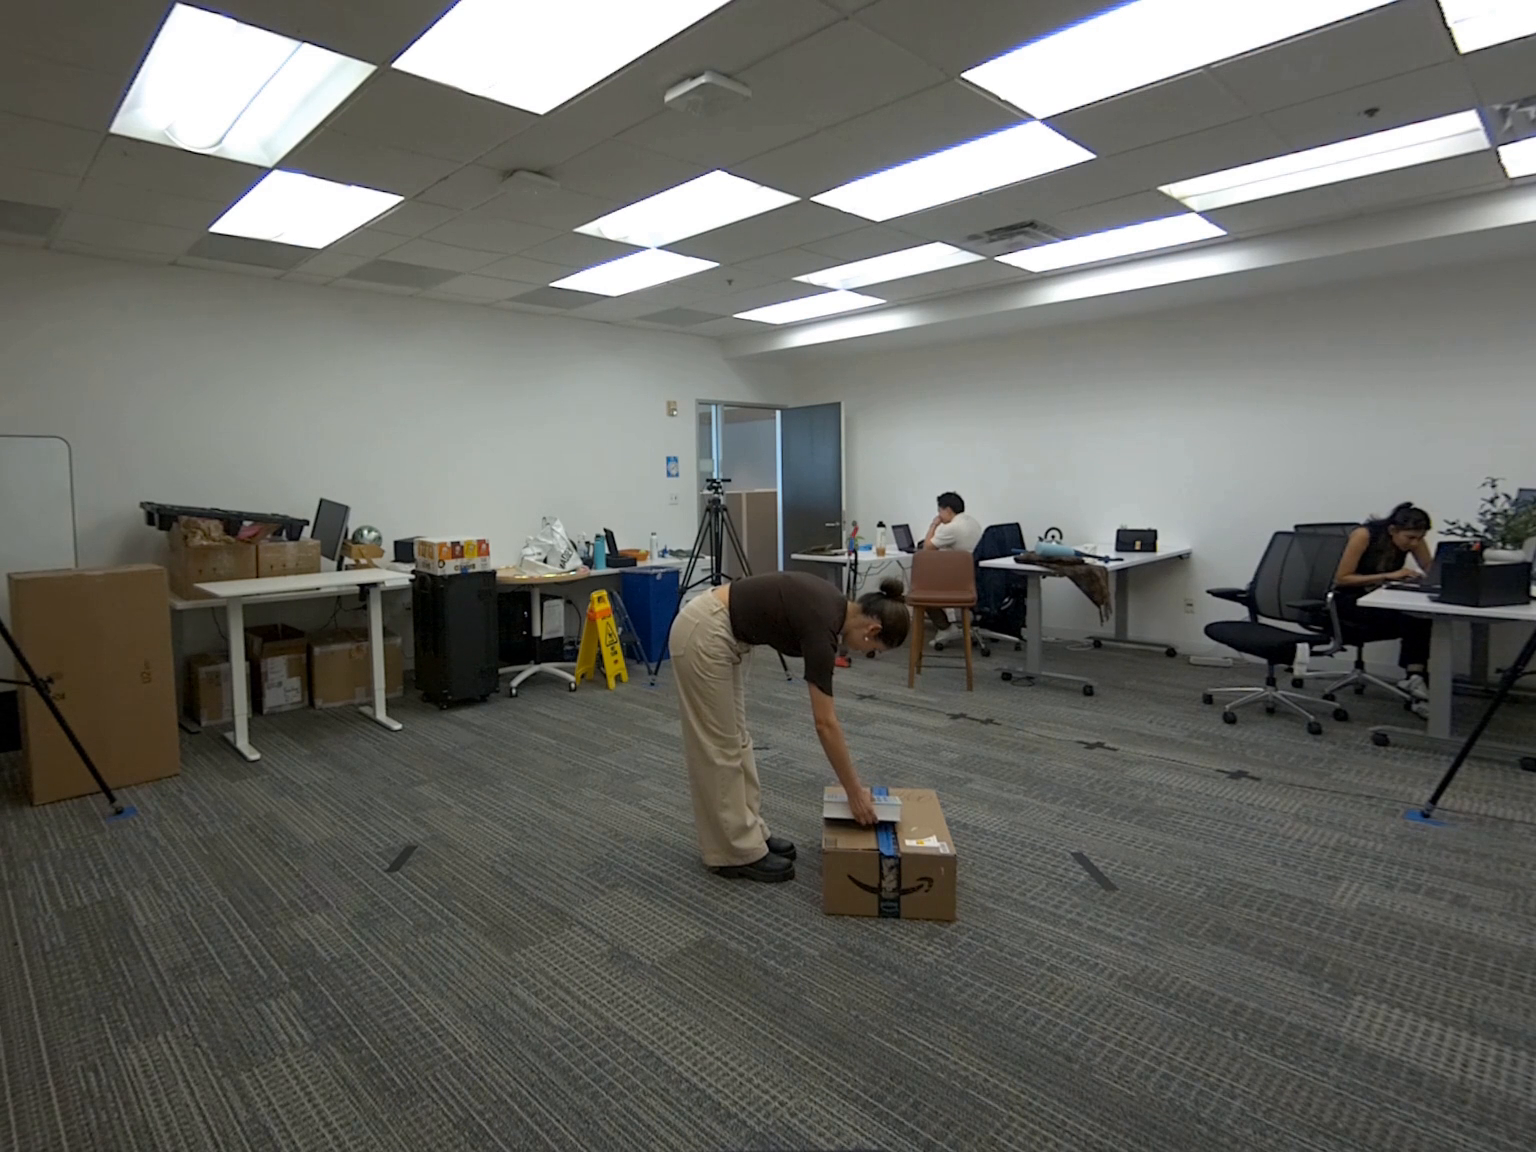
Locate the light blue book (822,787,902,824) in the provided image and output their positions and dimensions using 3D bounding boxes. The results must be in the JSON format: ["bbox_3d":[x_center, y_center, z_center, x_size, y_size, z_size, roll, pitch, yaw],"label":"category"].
[{"bbox_3d":[0.320,0.793,2.954,0.263,0.059,0.189,1,-6,7],"label":"light blue book"}]
